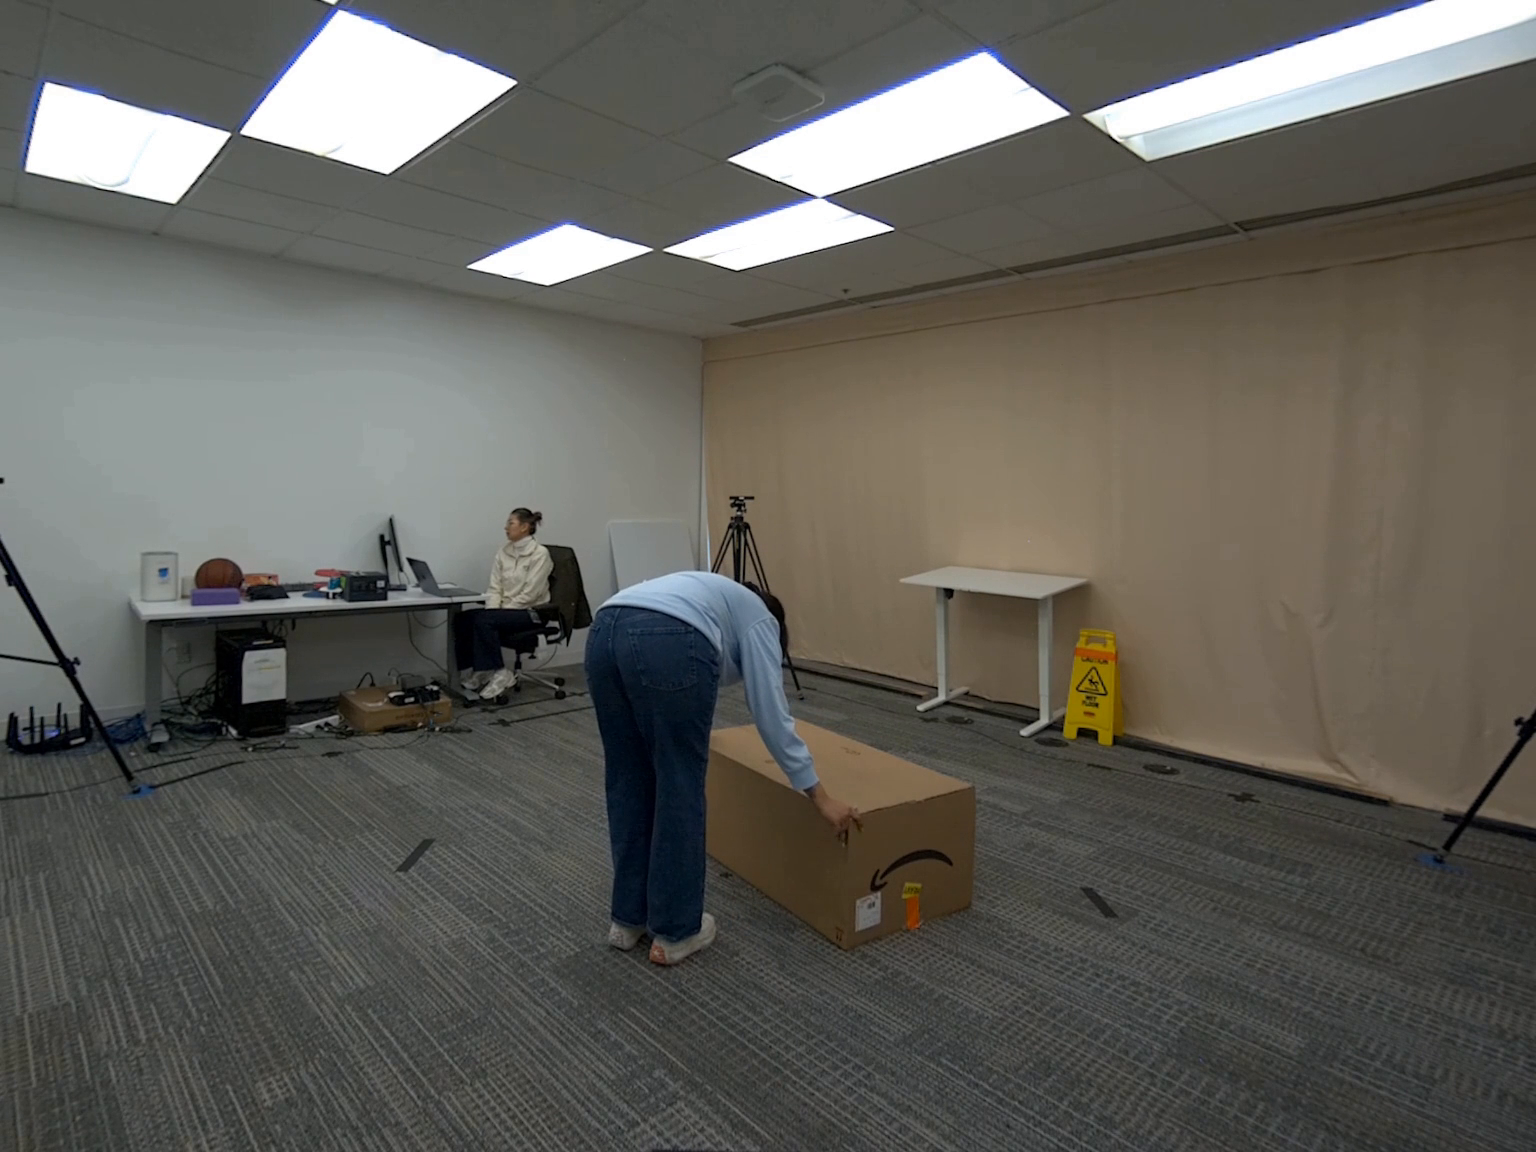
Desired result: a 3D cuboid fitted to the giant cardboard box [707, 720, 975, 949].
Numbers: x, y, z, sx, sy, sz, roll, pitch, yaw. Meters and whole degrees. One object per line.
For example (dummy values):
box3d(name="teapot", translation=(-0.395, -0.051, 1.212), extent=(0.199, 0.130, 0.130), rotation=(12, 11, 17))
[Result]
box3d(name="giant cardboard box", translation=(0.178, 0.897, 3.167), extent=(0.565, 0.425, 1.051), rotation=(-2, 6, -34))
